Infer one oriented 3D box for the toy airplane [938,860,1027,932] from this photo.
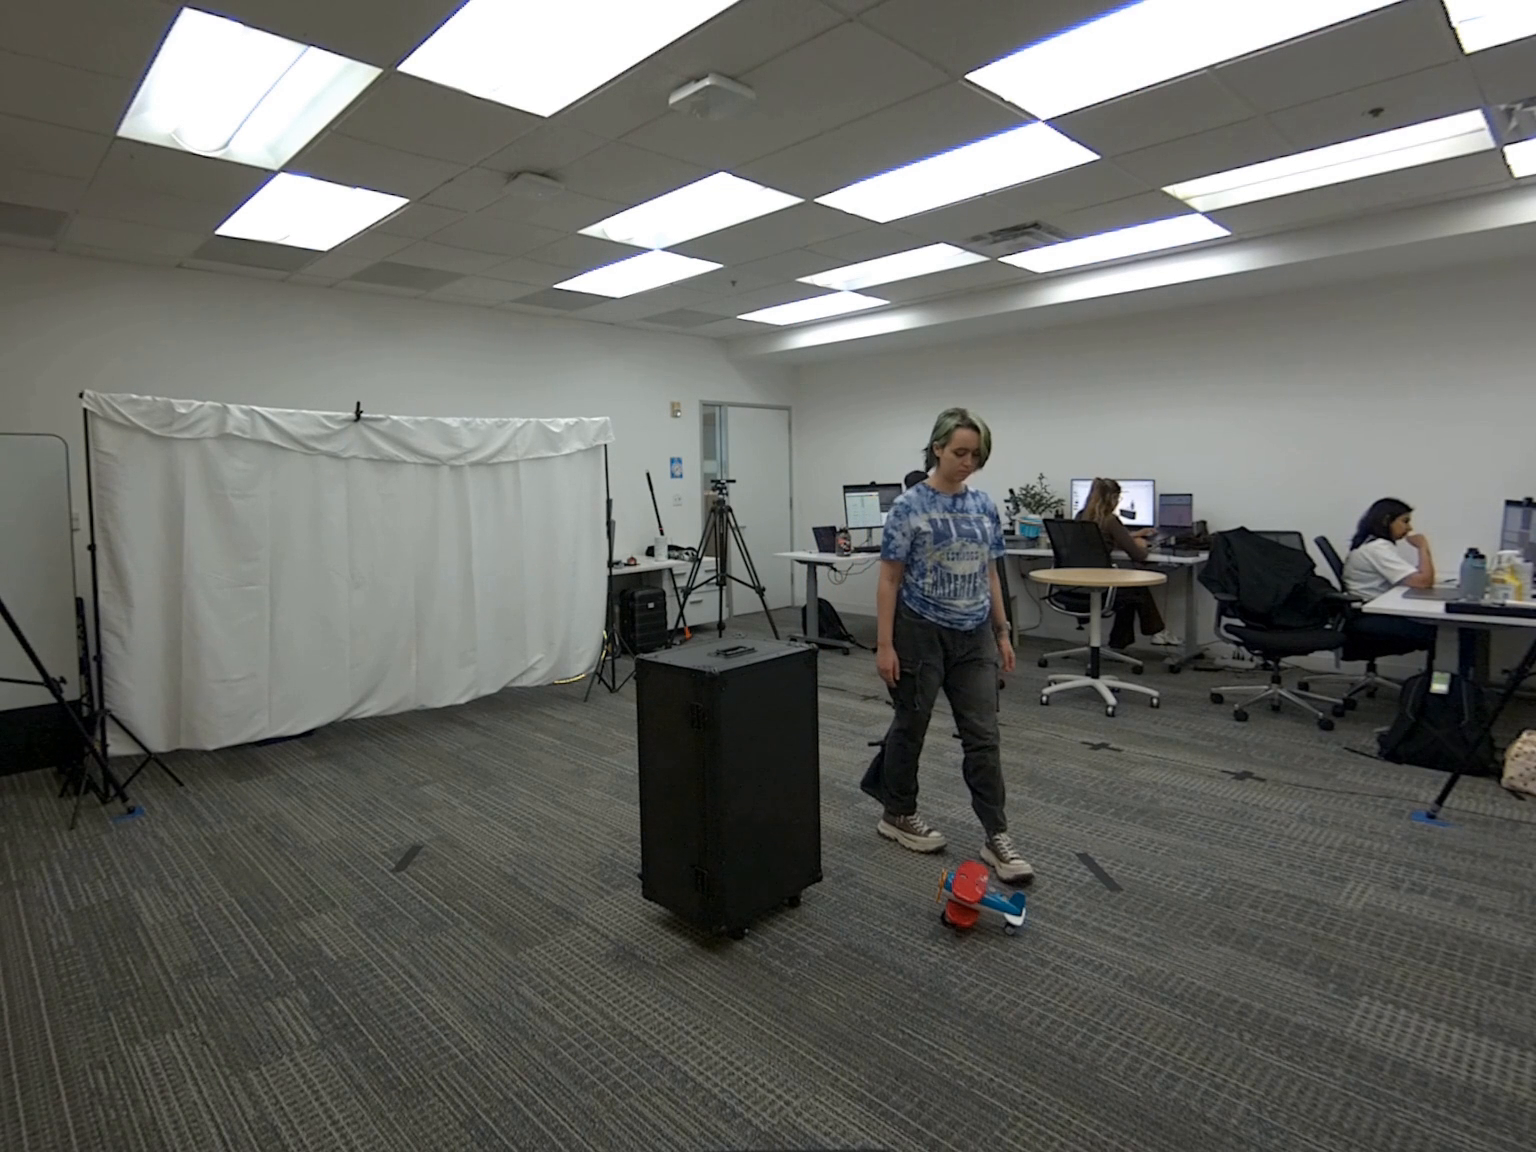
[{"bbox_3d":[0.658,1.006,2.659,0.258,0.156,0.253,-2,6,-3],"label":"toy airplane"}]
